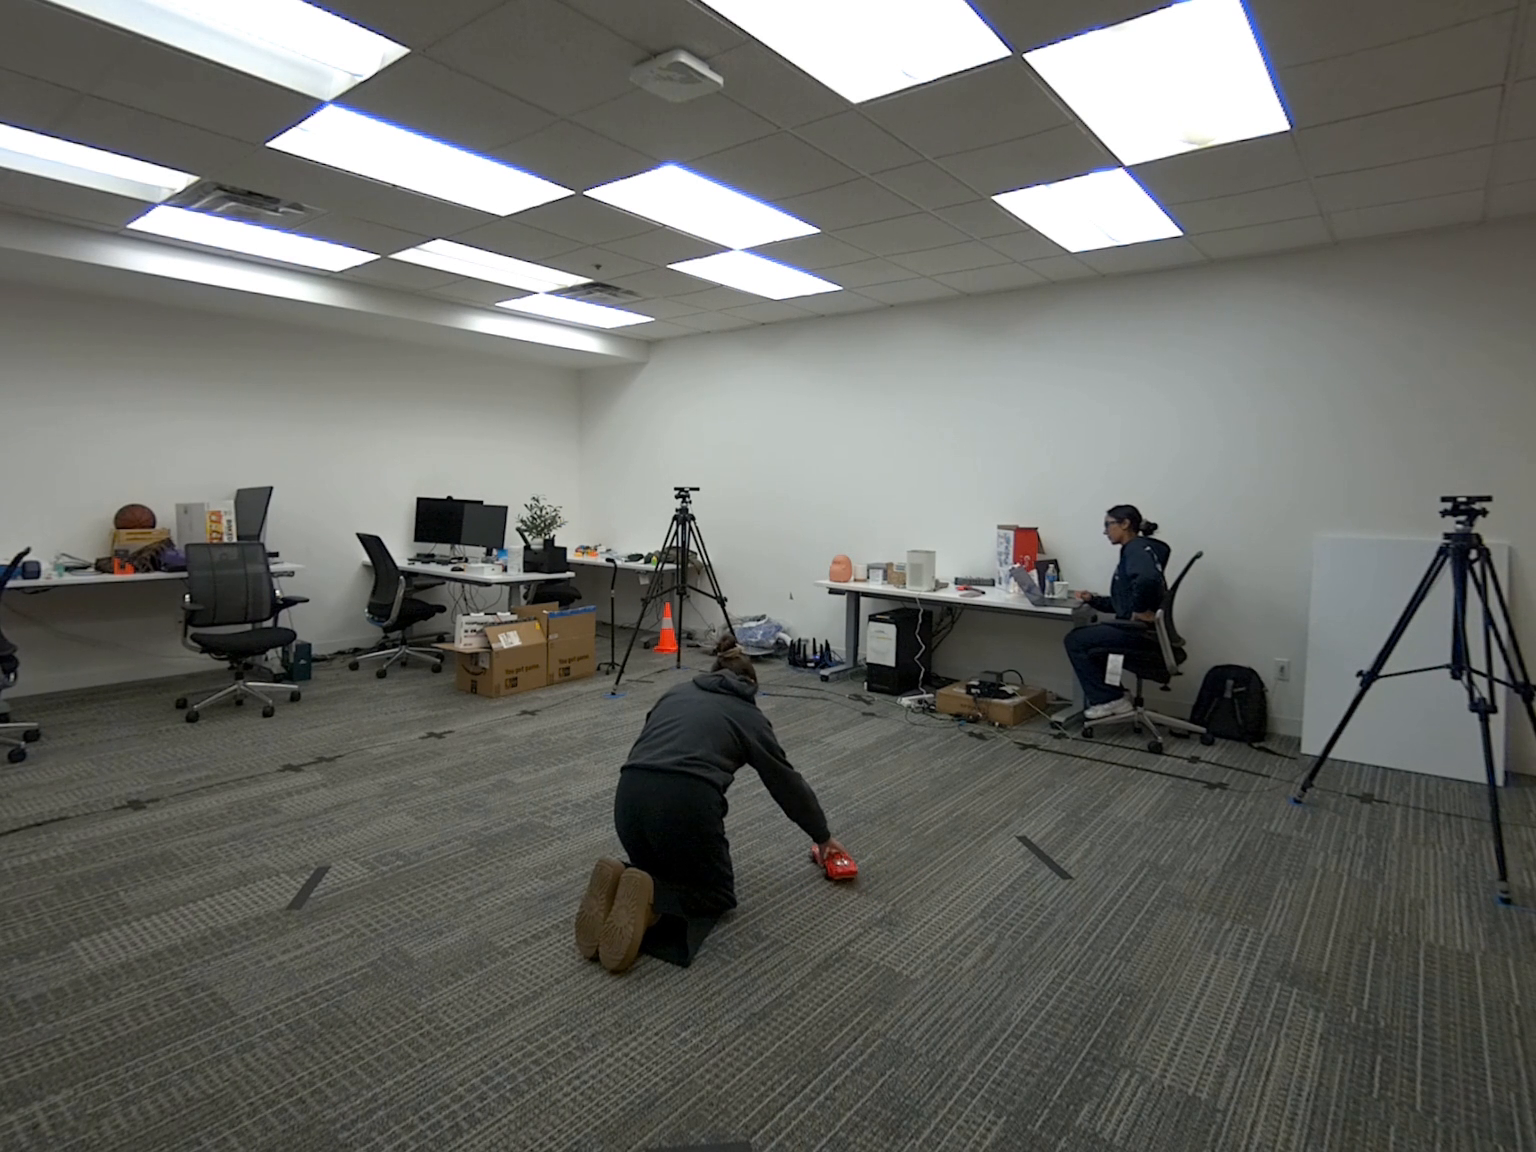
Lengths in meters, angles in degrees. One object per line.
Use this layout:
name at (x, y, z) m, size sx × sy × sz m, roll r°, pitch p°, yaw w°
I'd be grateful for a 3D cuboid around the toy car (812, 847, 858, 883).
toy car at (0.244, 1.041, 3.104) m, size 0.128 × 0.084 × 0.257 m, roll -1°, pitch -5°, yaw -15°
